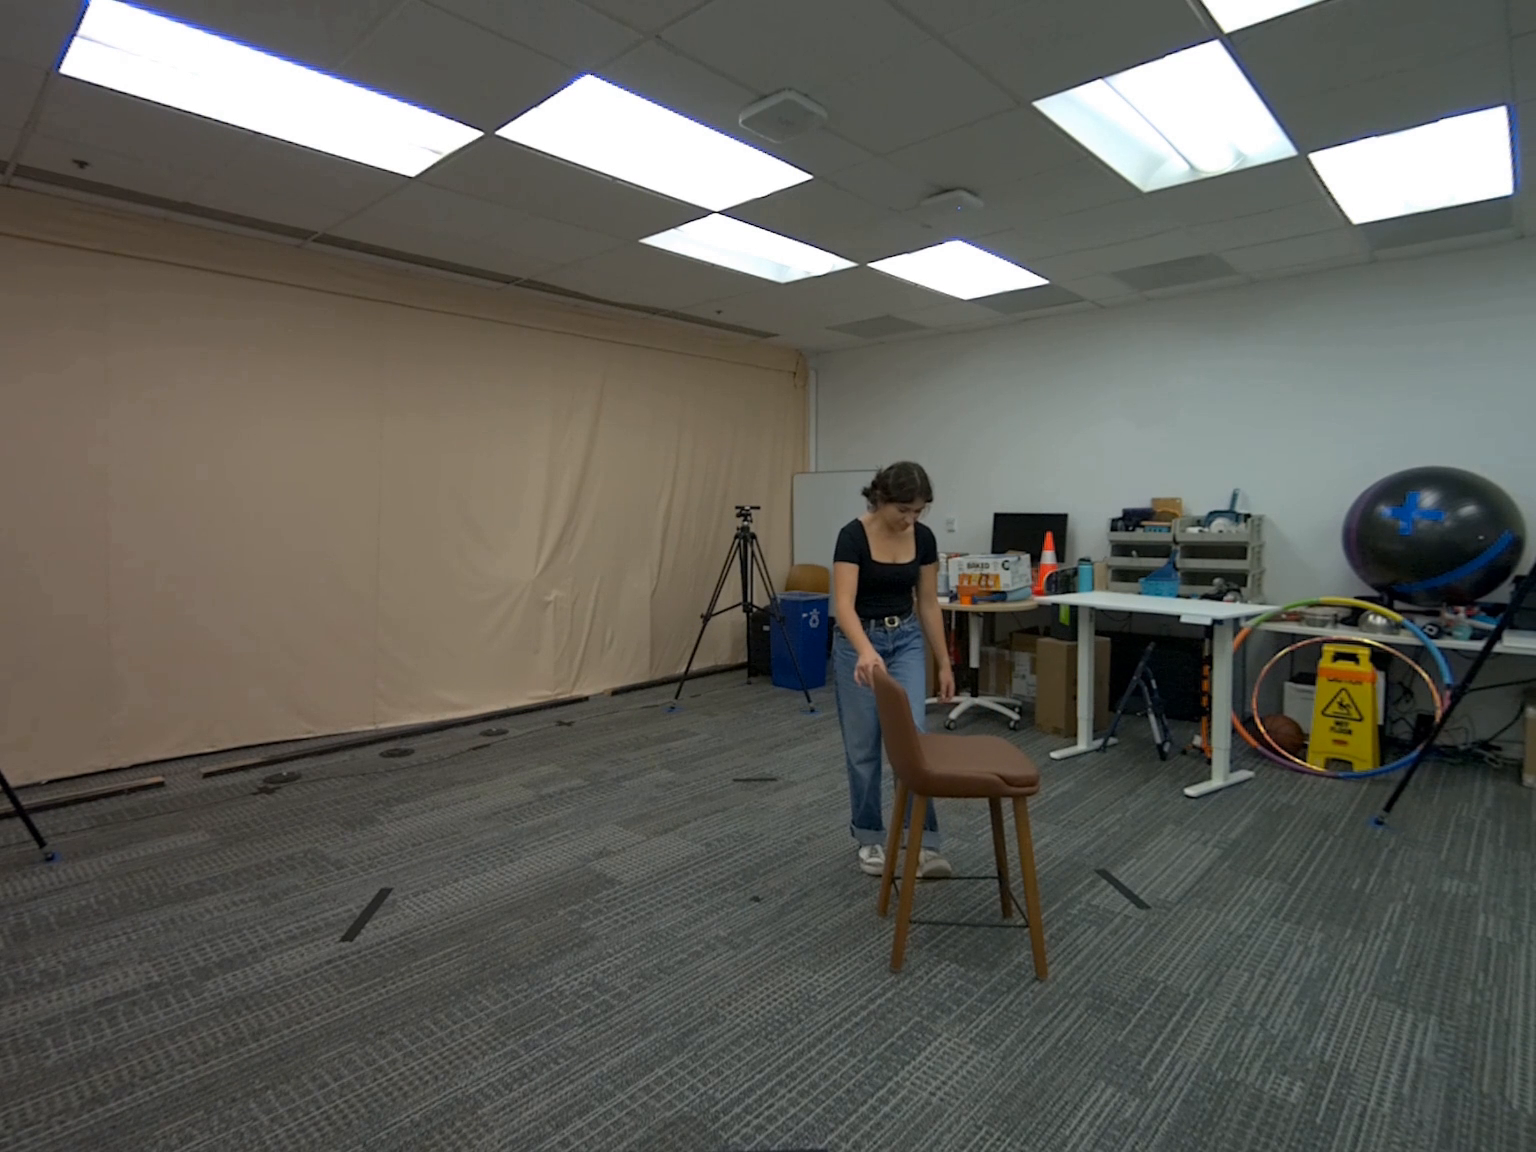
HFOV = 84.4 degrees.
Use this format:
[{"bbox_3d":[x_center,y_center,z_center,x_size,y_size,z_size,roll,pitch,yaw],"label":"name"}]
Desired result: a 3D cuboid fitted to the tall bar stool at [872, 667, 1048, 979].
[{"bbox_3d":[0.591,0.730,2.662,0.470,0.888,0.455,-2,2,4],"label":"tall bar stool"}]
